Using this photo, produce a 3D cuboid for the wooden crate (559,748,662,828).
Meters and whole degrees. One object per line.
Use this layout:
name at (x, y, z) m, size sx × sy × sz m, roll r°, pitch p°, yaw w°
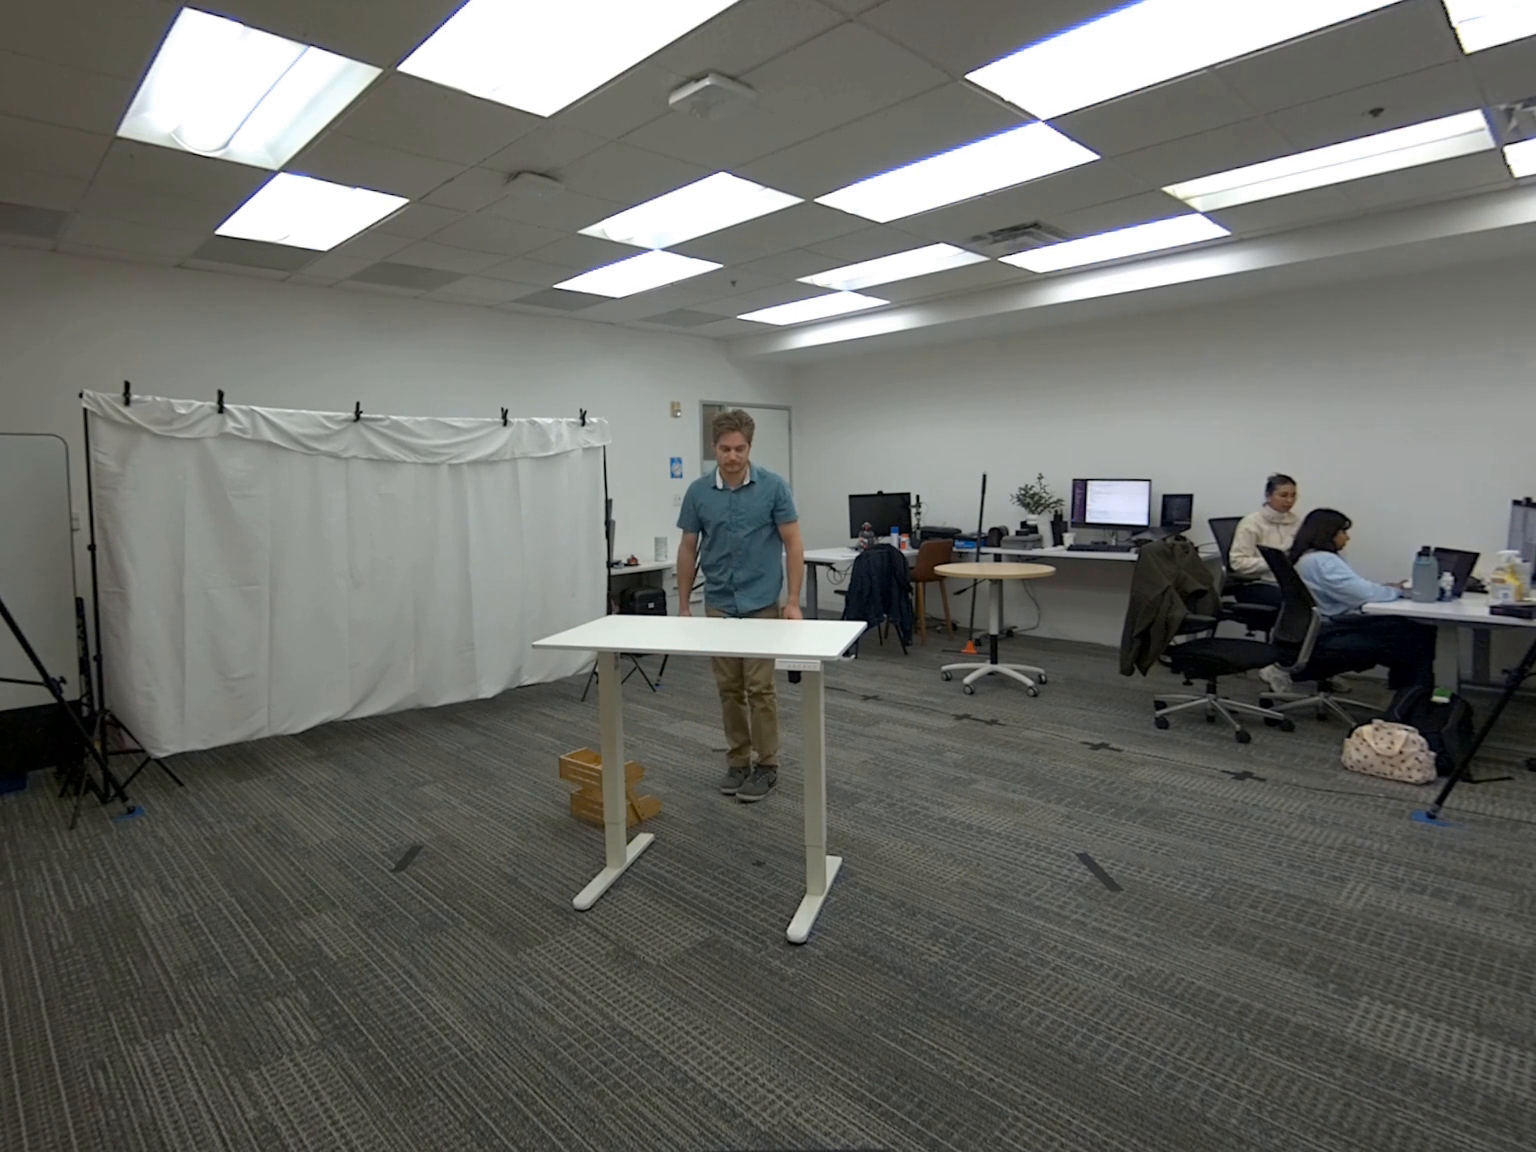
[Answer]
wooden crate at (-0.662, 0.872, 3.591) m, size 0.334 × 0.272 × 0.294 m, roll 3°, pitch 7°, yaw 40°
